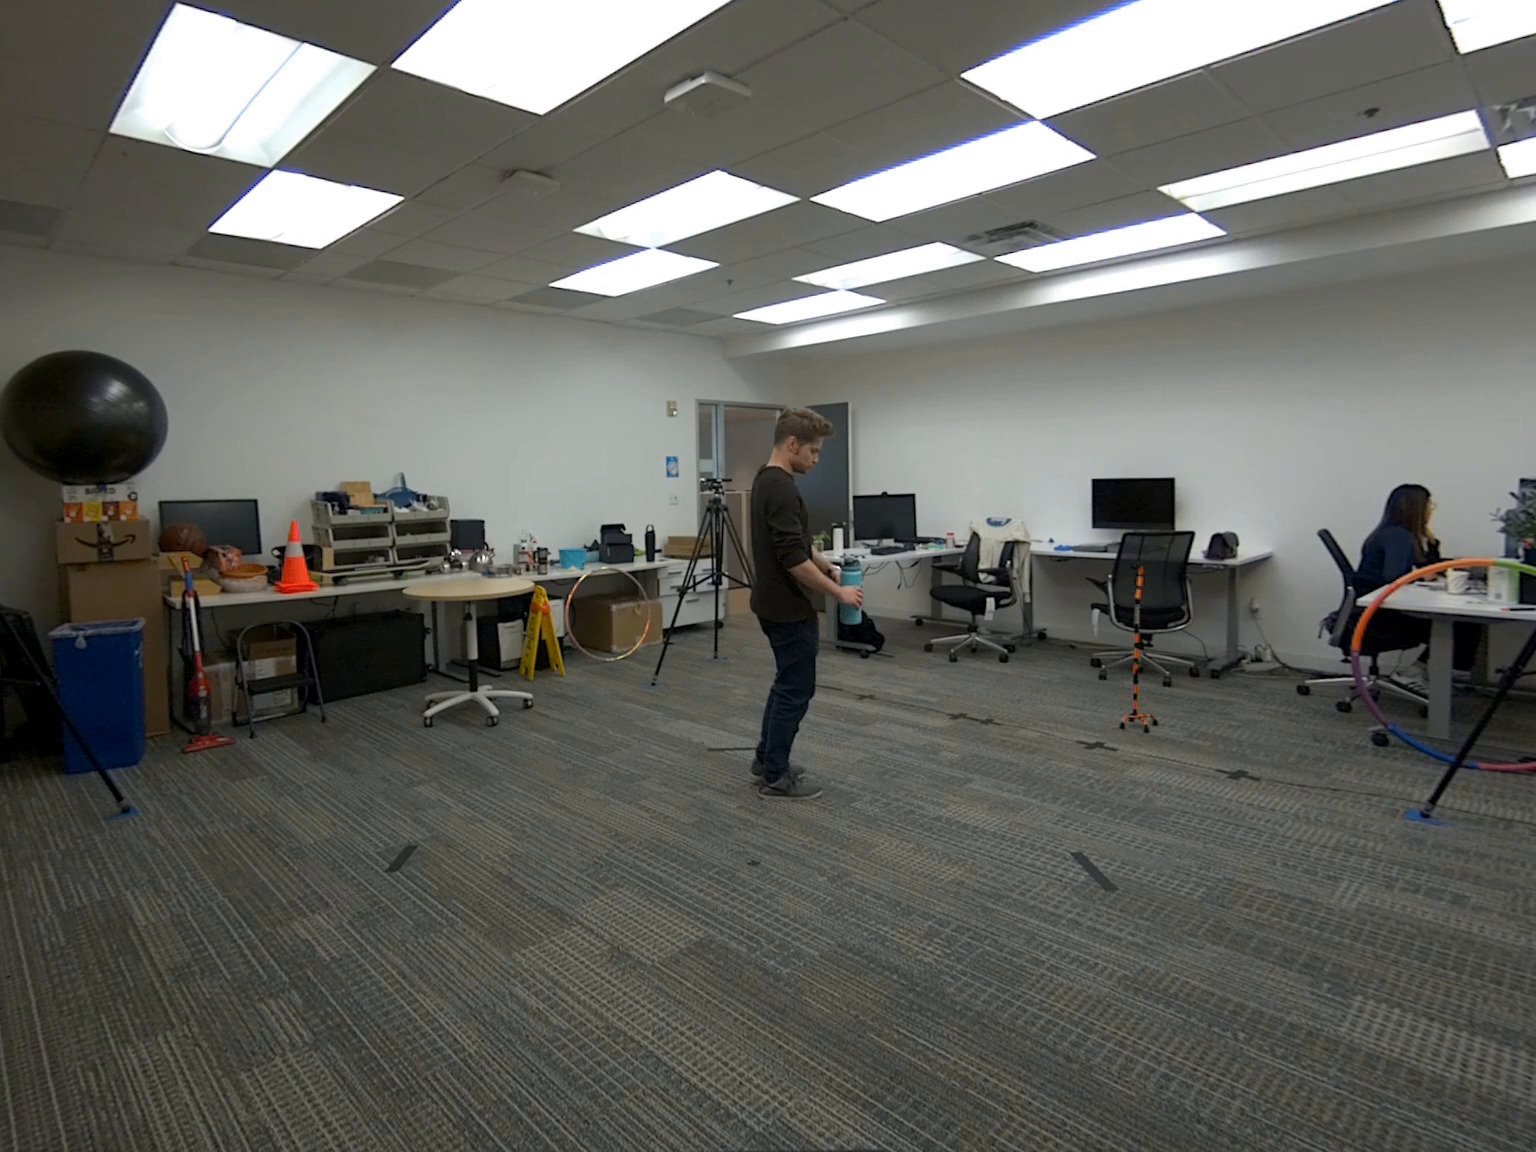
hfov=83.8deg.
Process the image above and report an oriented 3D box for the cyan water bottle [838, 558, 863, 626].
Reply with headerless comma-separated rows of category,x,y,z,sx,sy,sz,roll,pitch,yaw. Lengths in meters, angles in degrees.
cyan water bottle,0.344,0.063,3.662,0.092,0.281,0.093,0,7,-2
